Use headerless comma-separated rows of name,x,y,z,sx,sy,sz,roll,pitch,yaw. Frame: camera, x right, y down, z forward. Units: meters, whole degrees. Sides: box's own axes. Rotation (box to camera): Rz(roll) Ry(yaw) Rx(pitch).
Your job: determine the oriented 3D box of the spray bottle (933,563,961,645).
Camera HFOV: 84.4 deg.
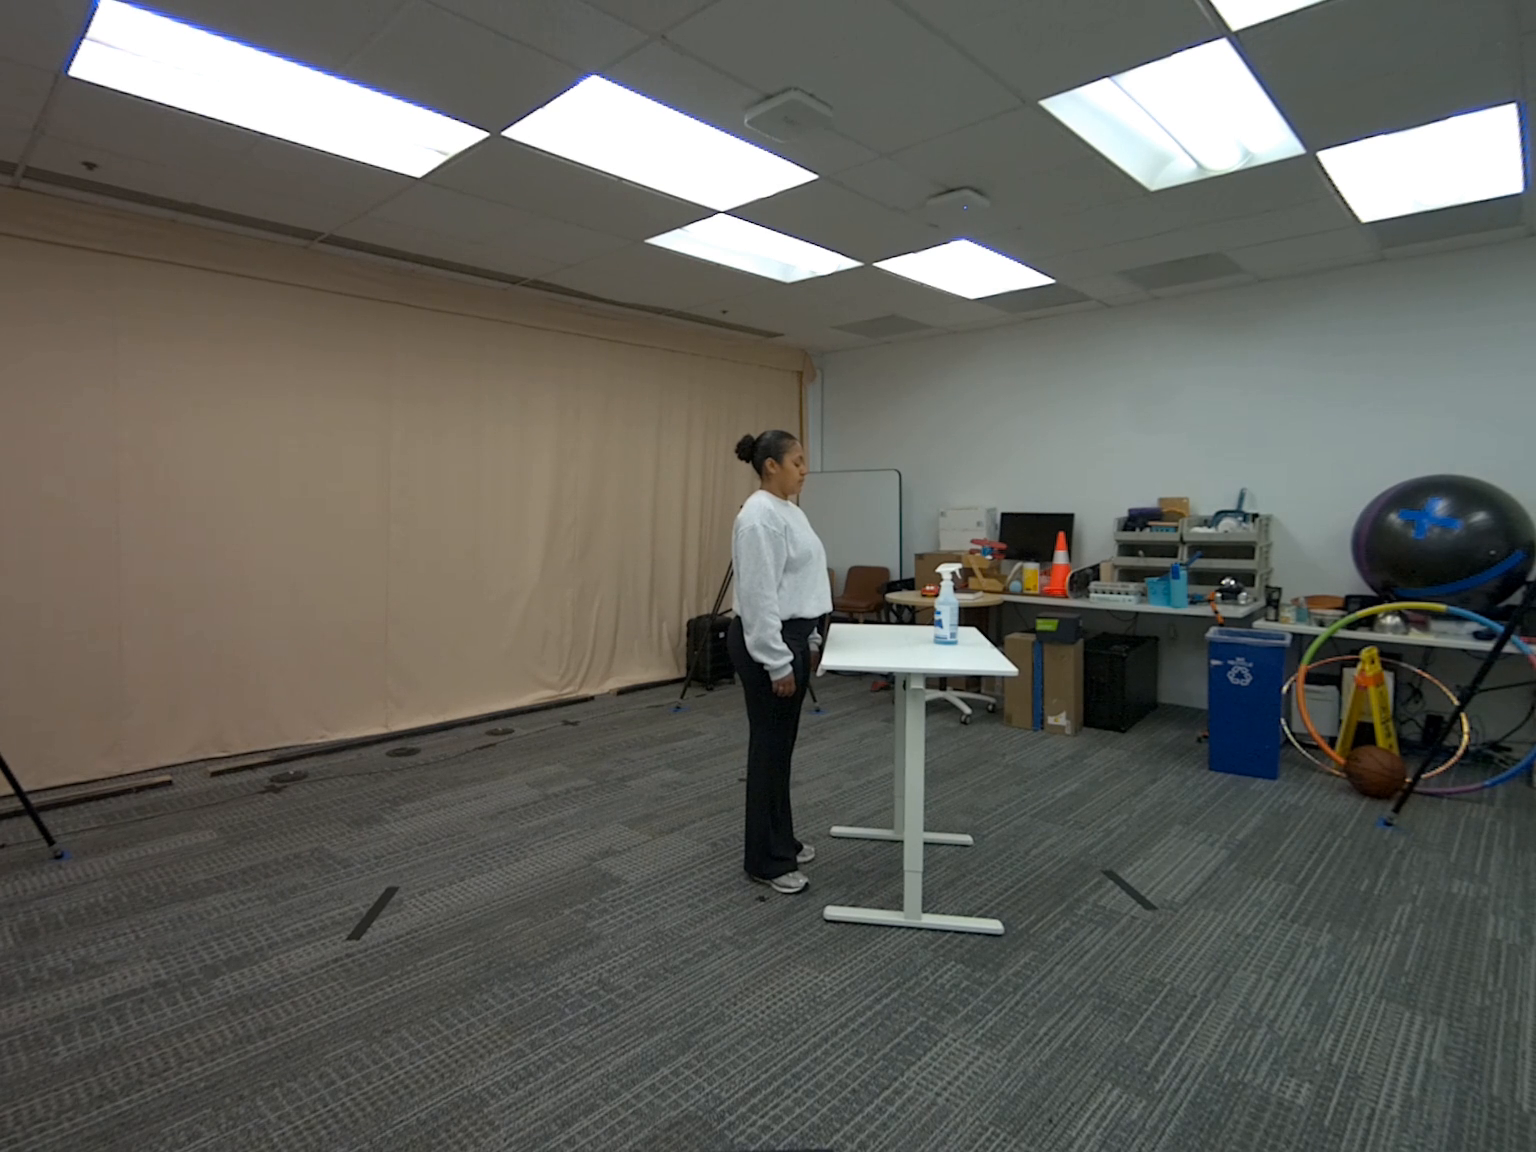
spray bottle,0.669,0.106,3.103,0.093,0.297,0.084,5,4,38
